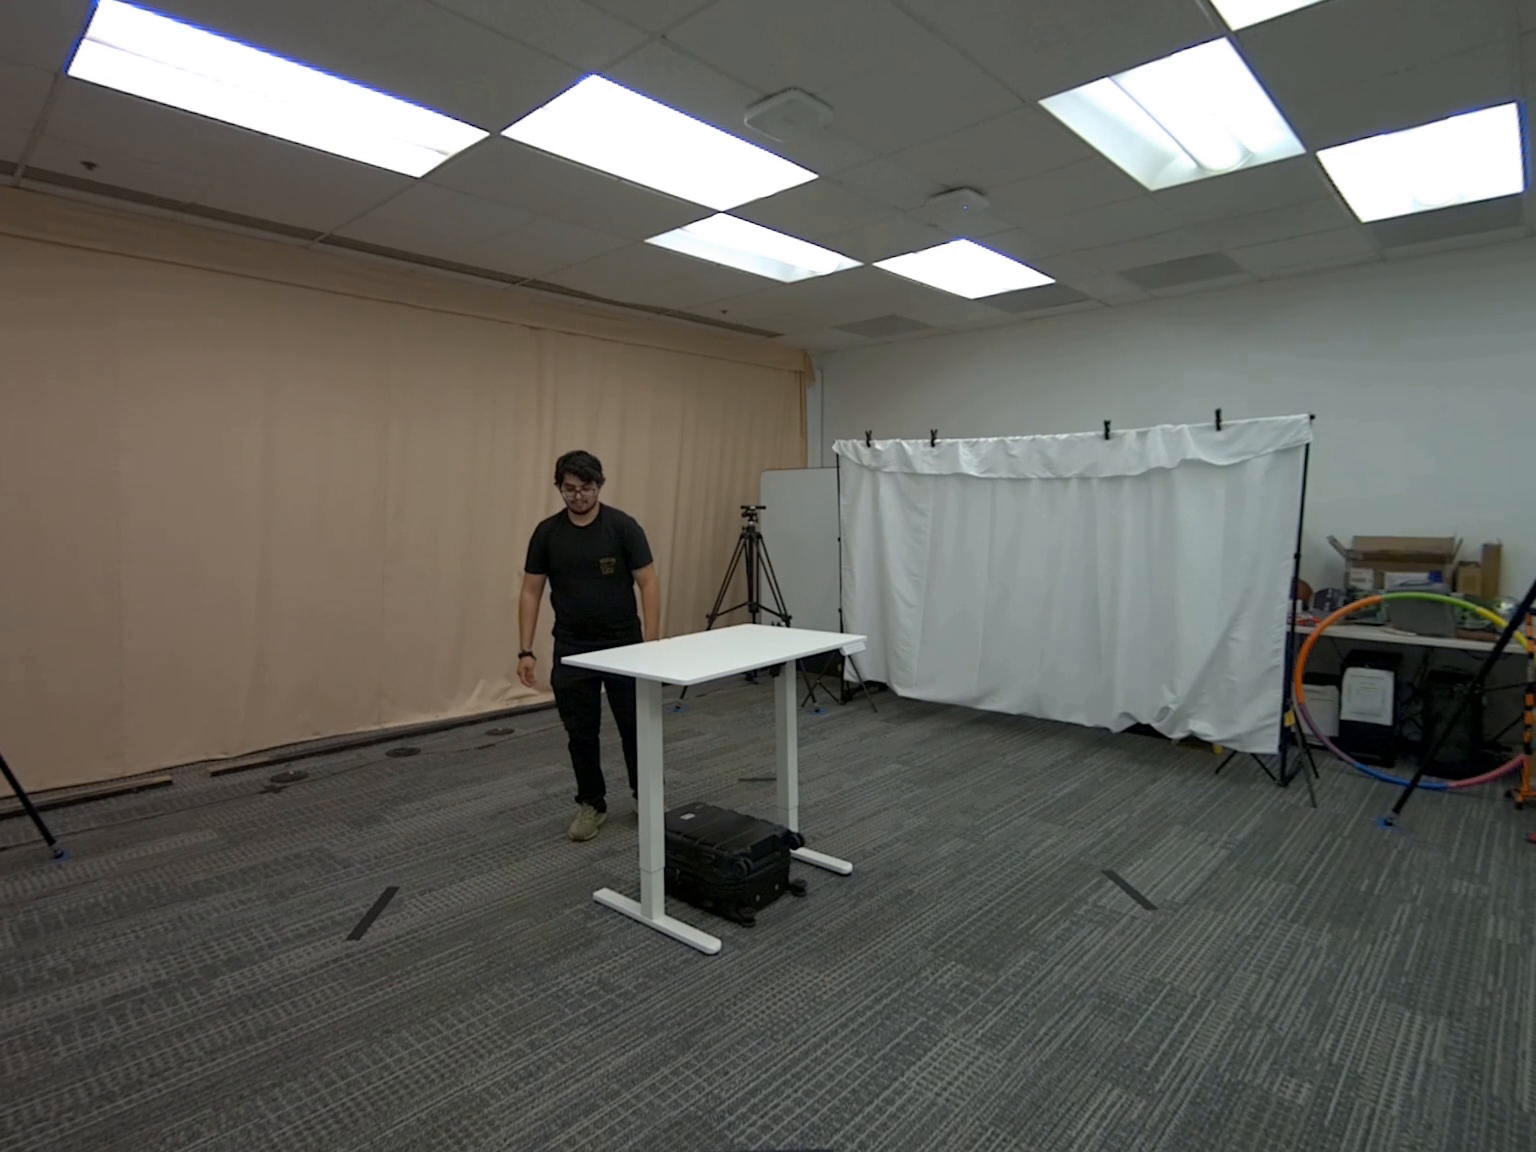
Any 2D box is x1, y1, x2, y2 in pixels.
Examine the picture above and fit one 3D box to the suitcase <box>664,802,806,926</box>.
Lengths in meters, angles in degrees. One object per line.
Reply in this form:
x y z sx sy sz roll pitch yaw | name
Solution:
-0.180 1.022 3.053 0.567 0.247 0.364 4 7 40 | suitcase
